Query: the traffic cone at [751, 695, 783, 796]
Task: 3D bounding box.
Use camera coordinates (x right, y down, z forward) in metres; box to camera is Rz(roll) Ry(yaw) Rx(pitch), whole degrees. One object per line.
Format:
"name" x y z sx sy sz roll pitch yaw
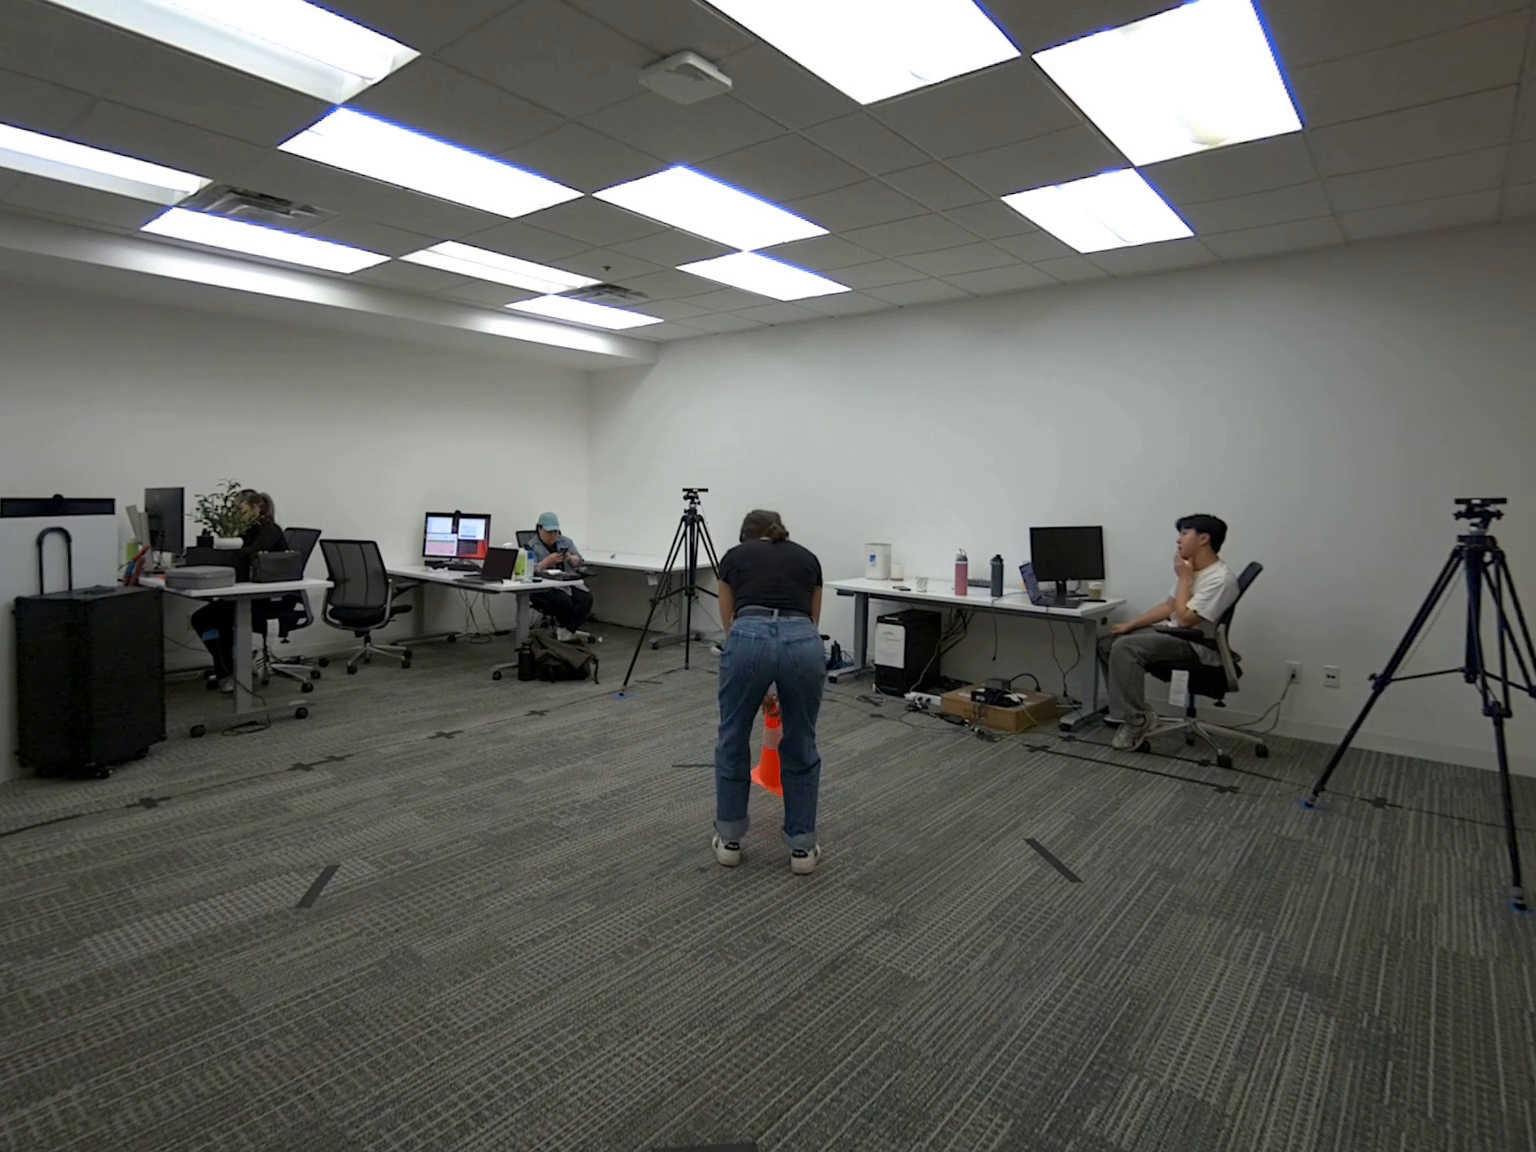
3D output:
"traffic cone" 0.026 0.647 3.455 0.211 0.375 0.202 11 28 38
